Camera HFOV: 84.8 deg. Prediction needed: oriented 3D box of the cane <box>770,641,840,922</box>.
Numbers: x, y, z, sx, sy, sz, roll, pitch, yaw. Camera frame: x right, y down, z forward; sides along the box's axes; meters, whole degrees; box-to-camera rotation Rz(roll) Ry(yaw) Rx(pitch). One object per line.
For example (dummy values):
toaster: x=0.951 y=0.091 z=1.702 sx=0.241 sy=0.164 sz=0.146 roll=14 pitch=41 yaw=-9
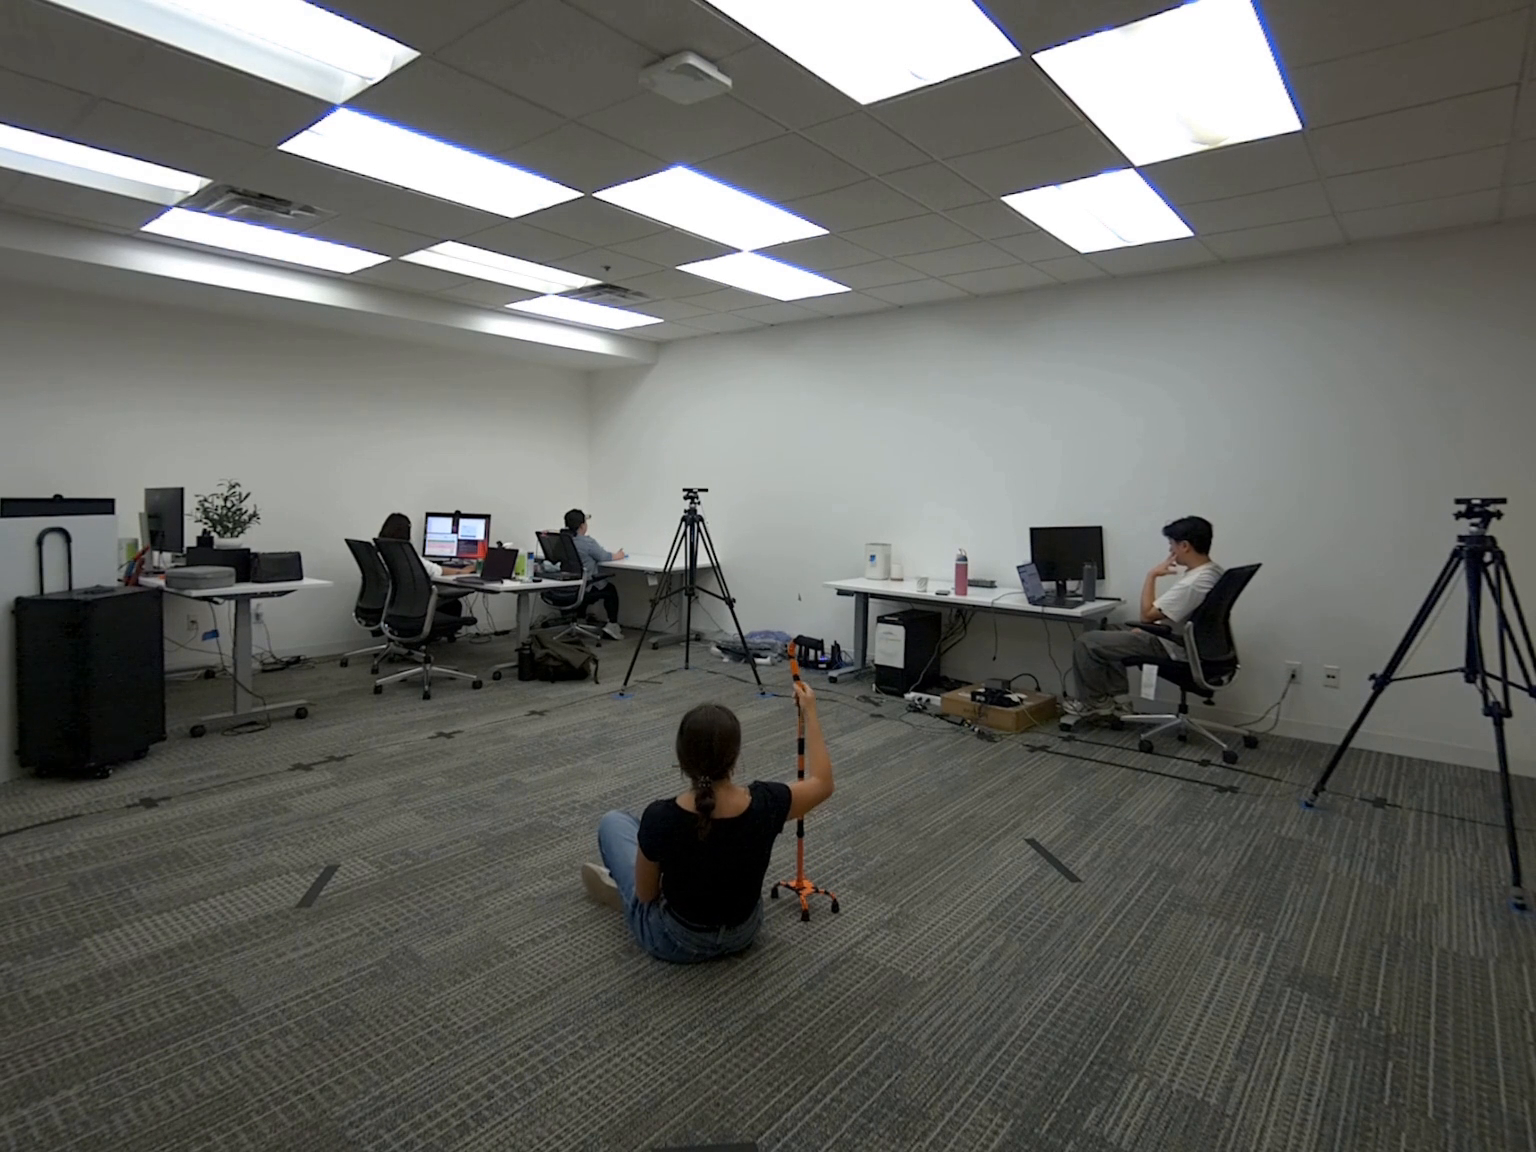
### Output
cane: x=0.127 y=0.639 z=2.834 sx=0.147 sy=0.905 sz=0.213 roll=-3 pitch=4 yaw=-34
